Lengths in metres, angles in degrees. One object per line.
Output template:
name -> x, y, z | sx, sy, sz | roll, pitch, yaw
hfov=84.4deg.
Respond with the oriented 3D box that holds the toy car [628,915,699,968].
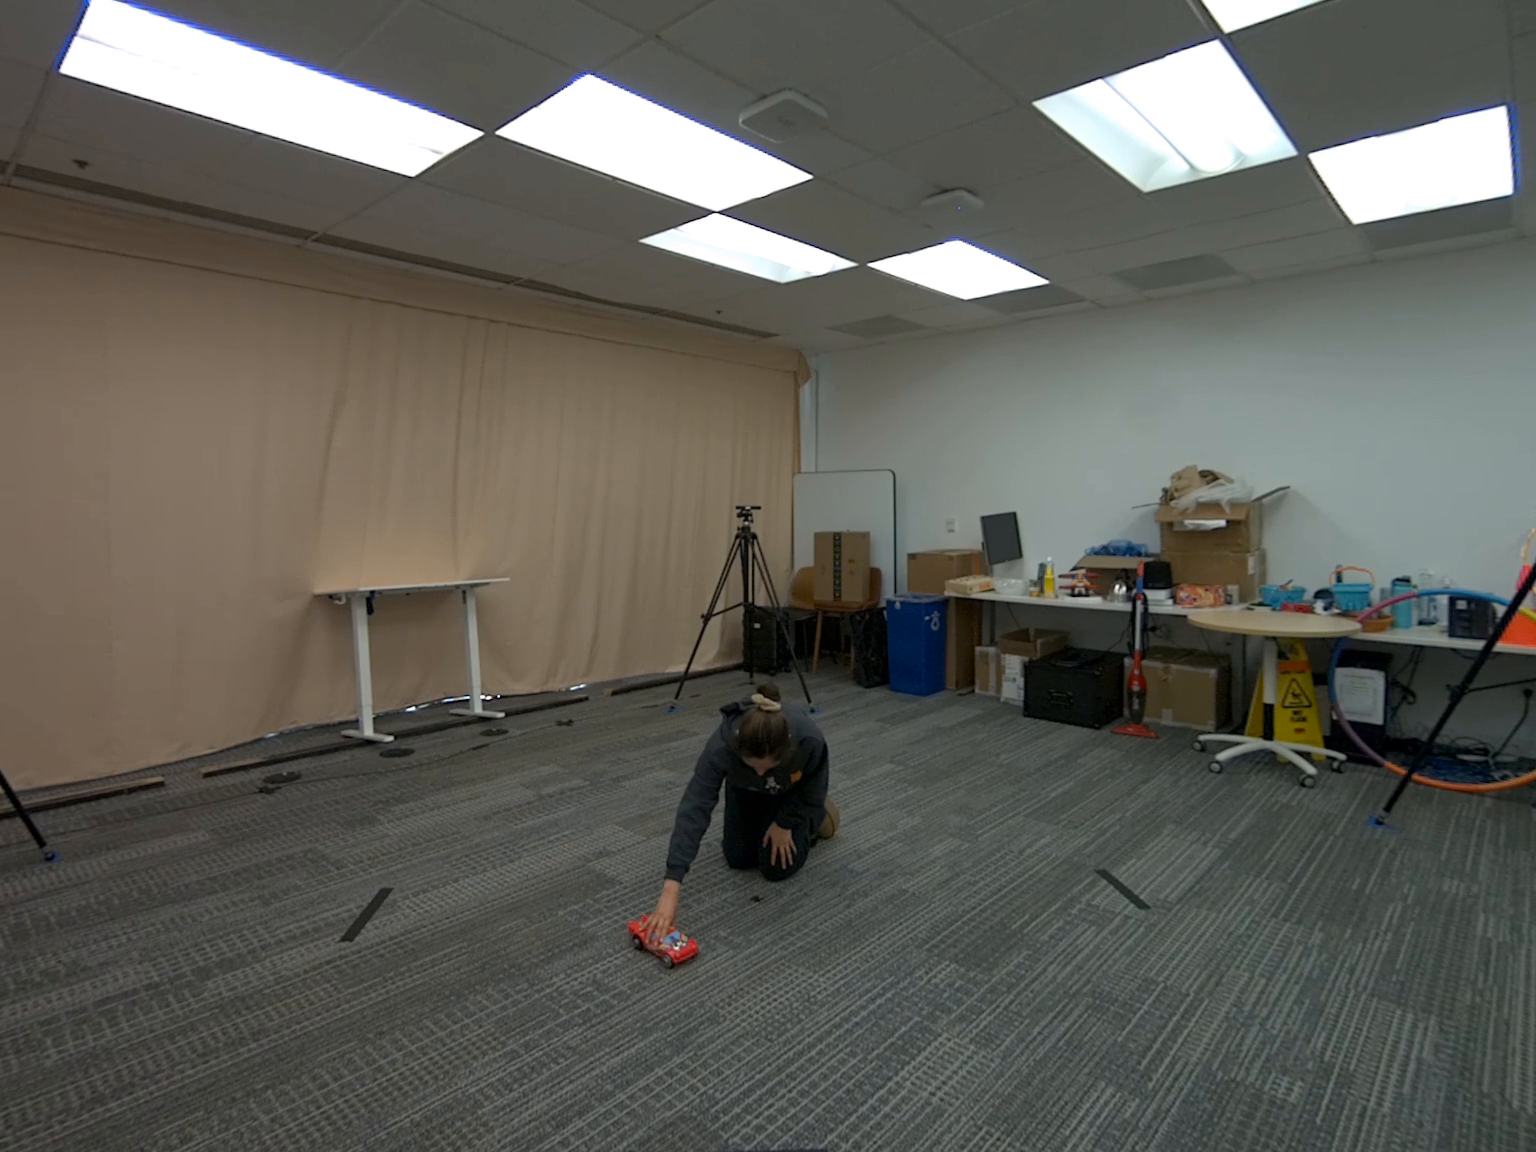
toy car -> -0.316, 1.144, 2.648 | 0.126, 0.083, 0.264 | -6, 17, -44
